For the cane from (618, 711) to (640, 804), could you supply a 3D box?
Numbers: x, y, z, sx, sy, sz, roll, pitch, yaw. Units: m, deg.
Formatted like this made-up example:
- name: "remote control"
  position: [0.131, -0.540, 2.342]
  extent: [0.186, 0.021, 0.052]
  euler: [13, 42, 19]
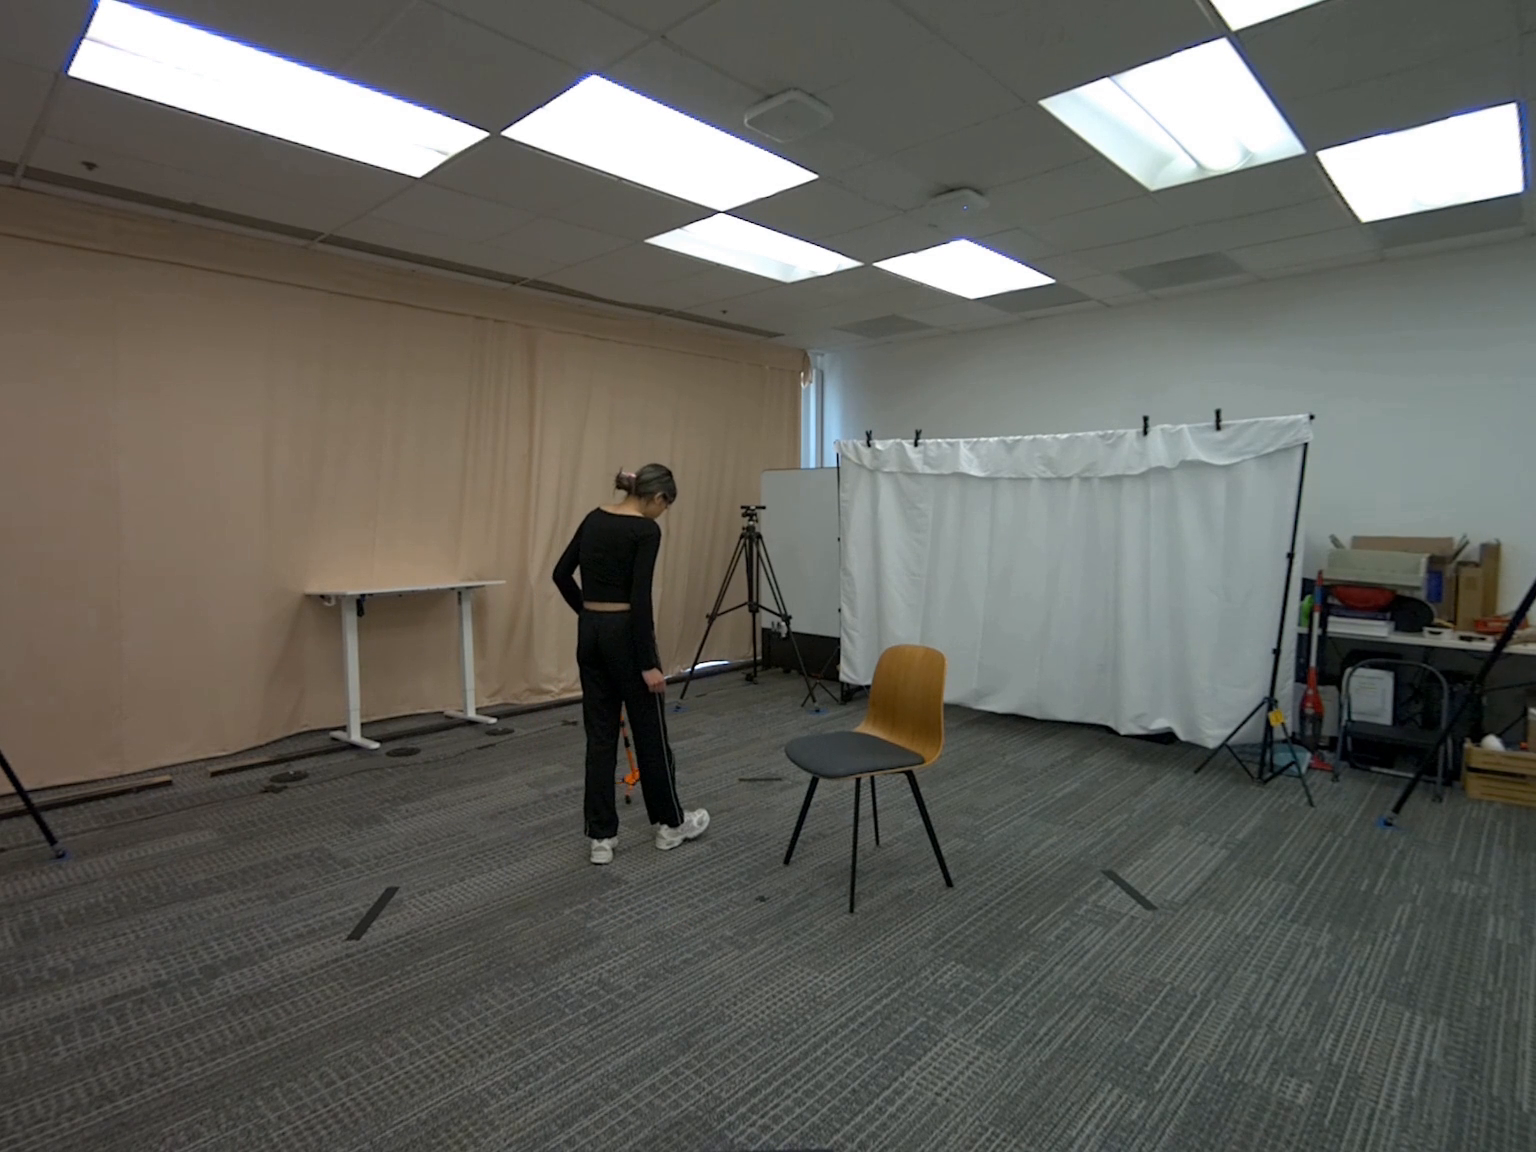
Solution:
- name: "cane"
  position: [-0.693, 0.591, 3.809]
  extent: [0.157, 0.895, 0.202]
  euler: [11, 26, 40]
